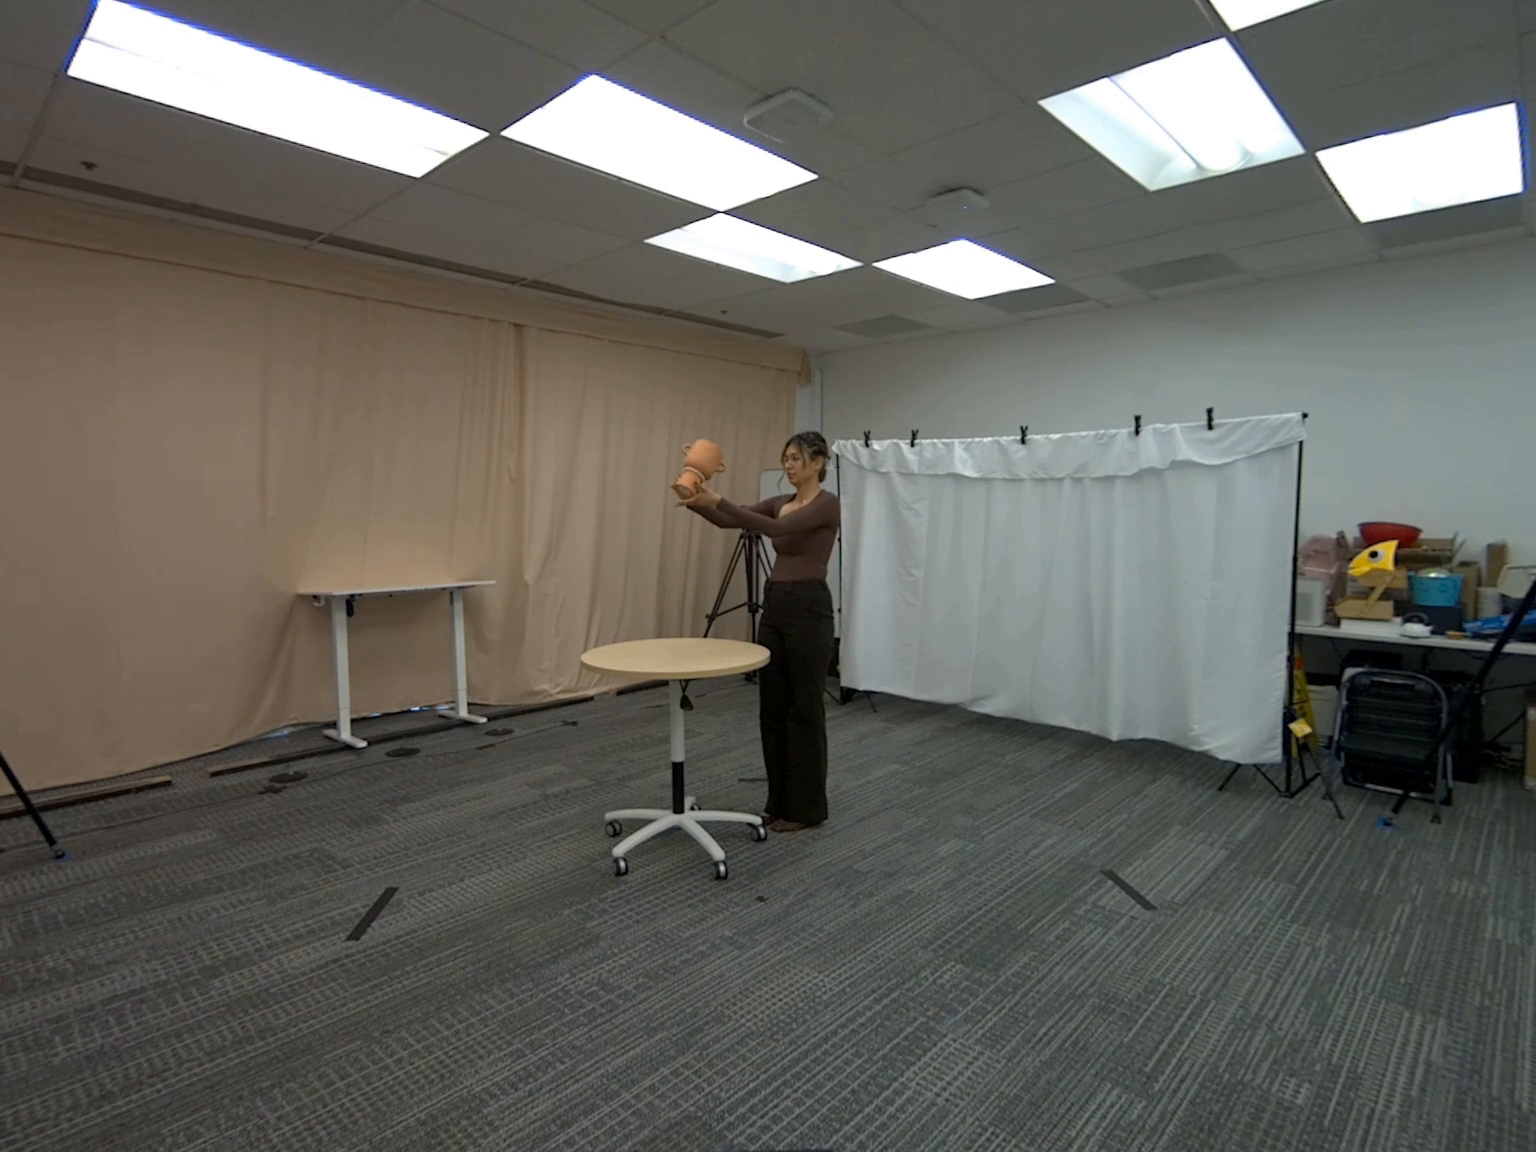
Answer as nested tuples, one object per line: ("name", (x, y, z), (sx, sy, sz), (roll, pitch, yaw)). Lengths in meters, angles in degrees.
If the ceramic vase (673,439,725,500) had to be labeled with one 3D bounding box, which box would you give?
("ceramic vase", (-0.284, -0.433, 3.430), (0.164, 0.220, 0.130), (12, -26, 38))
